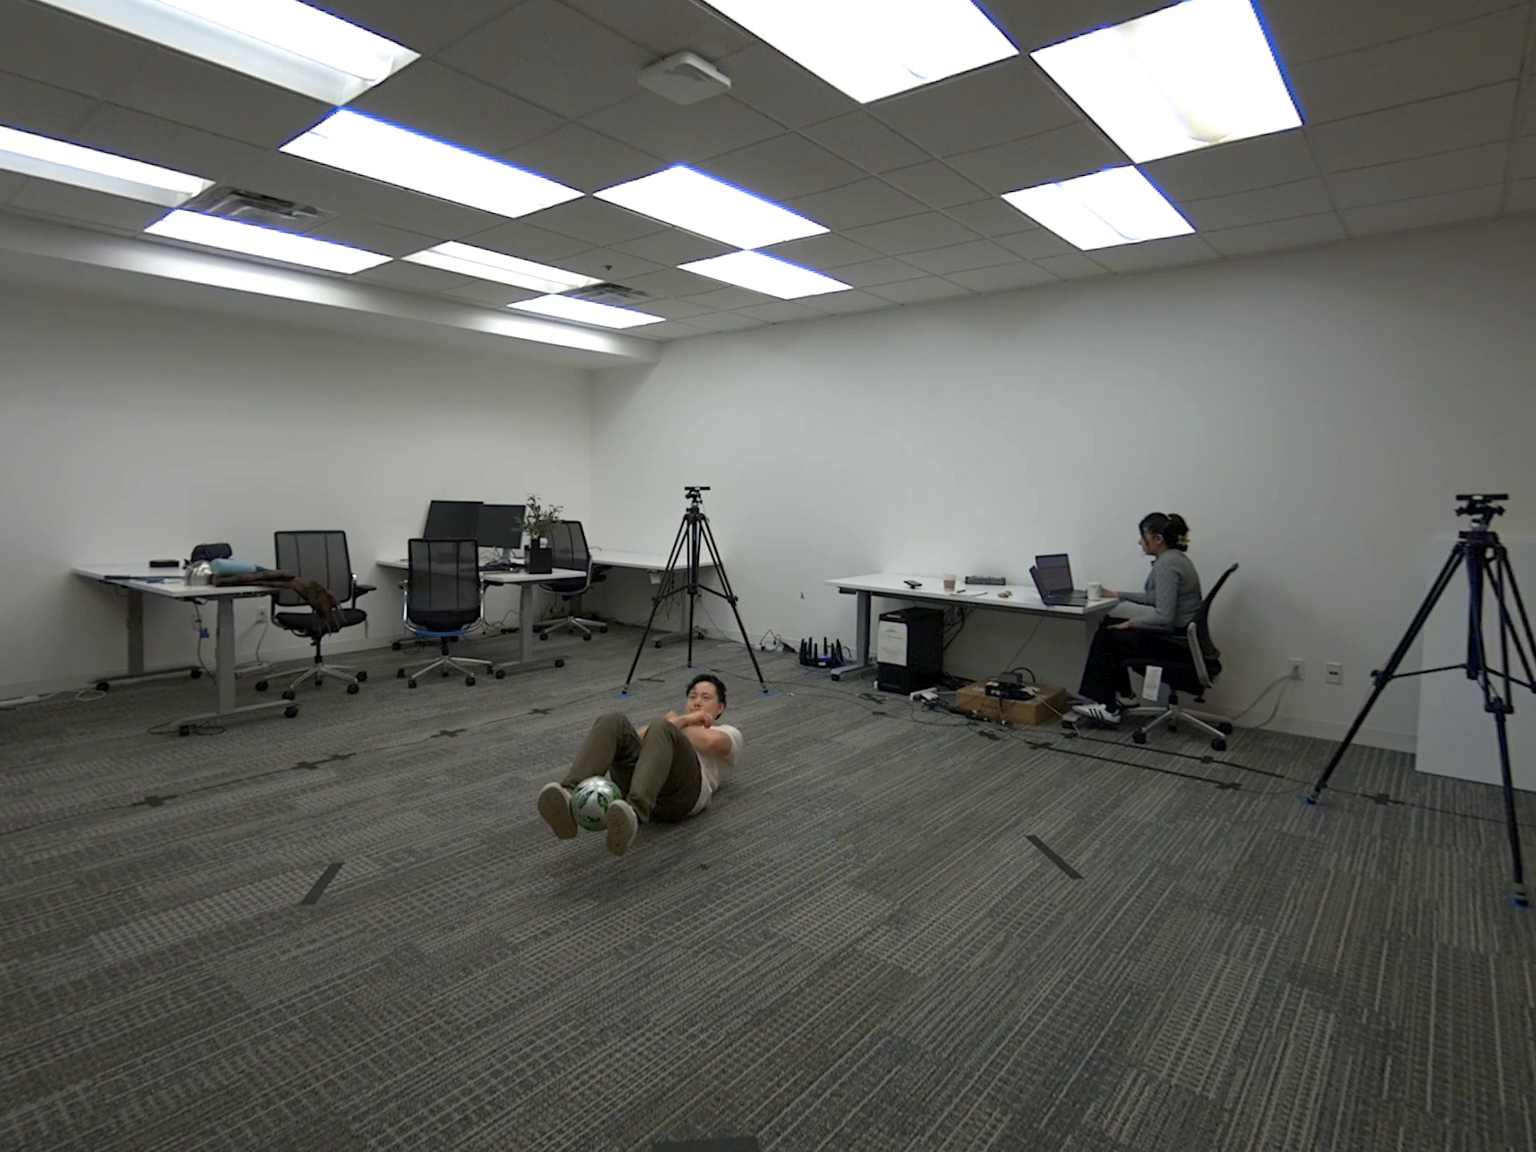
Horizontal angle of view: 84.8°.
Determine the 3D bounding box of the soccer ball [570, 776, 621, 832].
[{"bbox_3d":[-0.634,0.809,3.032,0.187,0.187,0.188,1,4,-2],"label":"soccer ball"}]
